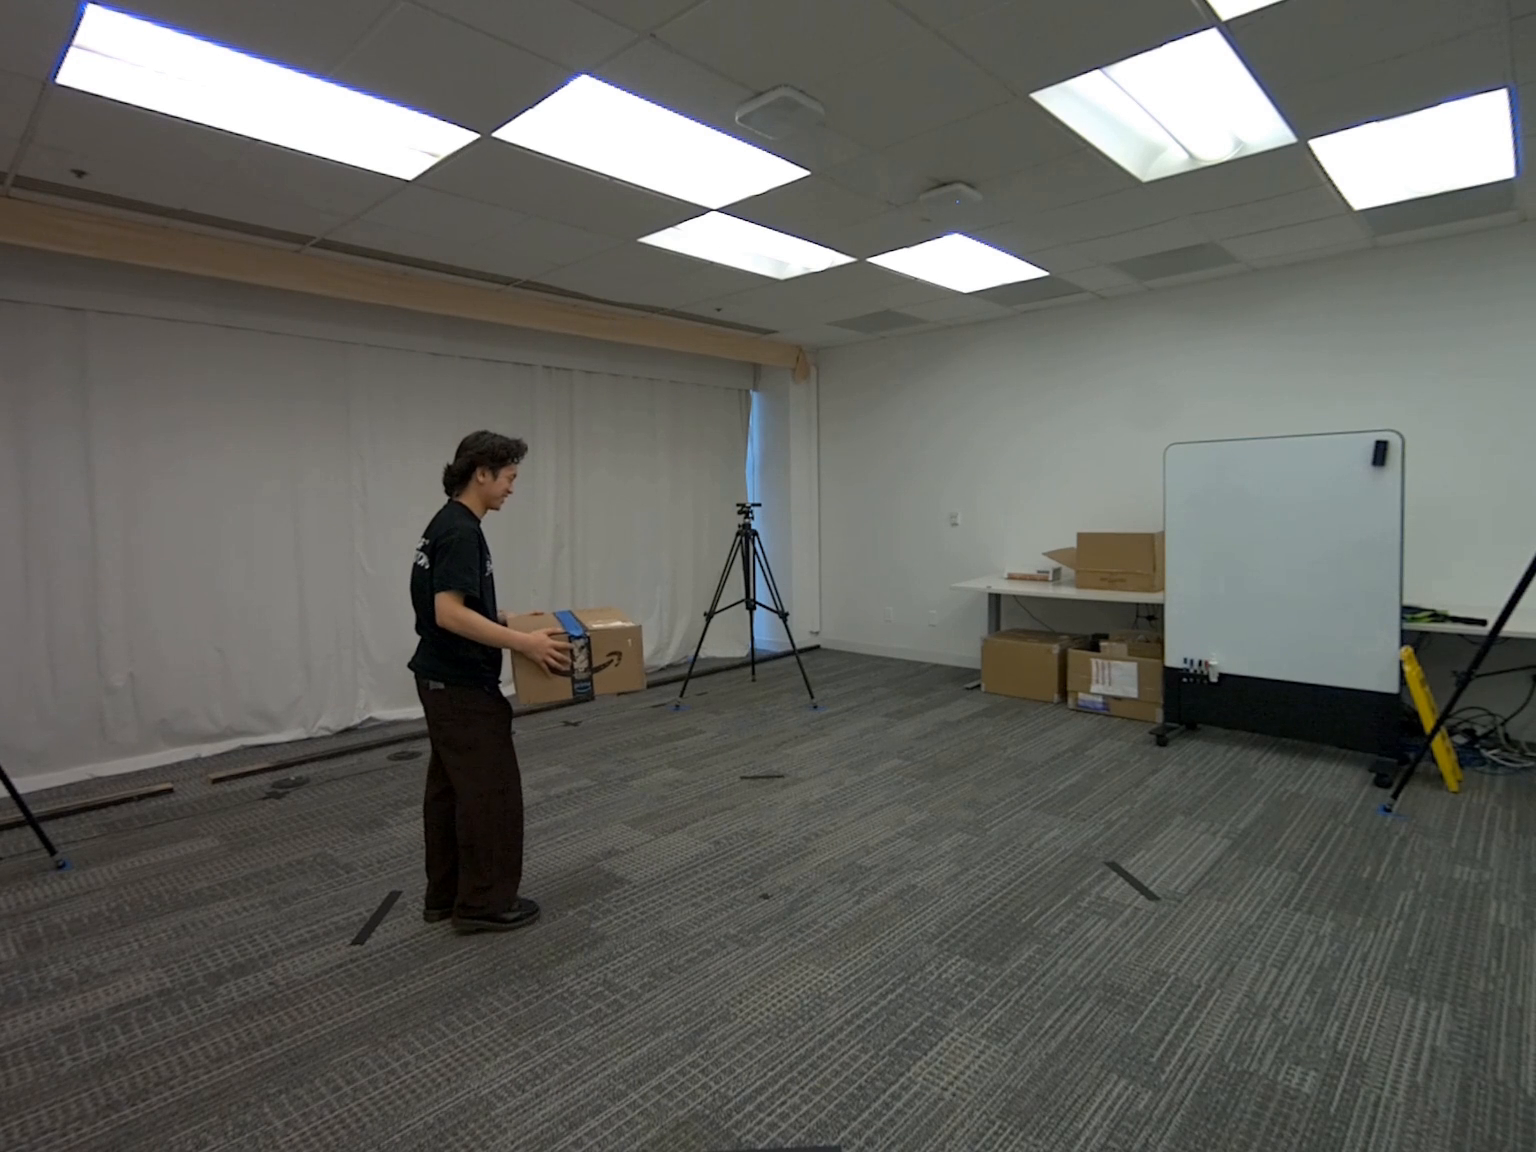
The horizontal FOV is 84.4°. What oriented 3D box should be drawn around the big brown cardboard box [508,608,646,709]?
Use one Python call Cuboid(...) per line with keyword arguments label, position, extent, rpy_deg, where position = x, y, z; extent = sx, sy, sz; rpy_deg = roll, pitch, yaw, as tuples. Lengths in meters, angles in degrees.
Cuboid(label="big brown cardboard box", position=(-0.686, 0.261, 2.964), extent=(0.411, 0.232, 0.600), rpy_deg=(-6, 5, -18))
